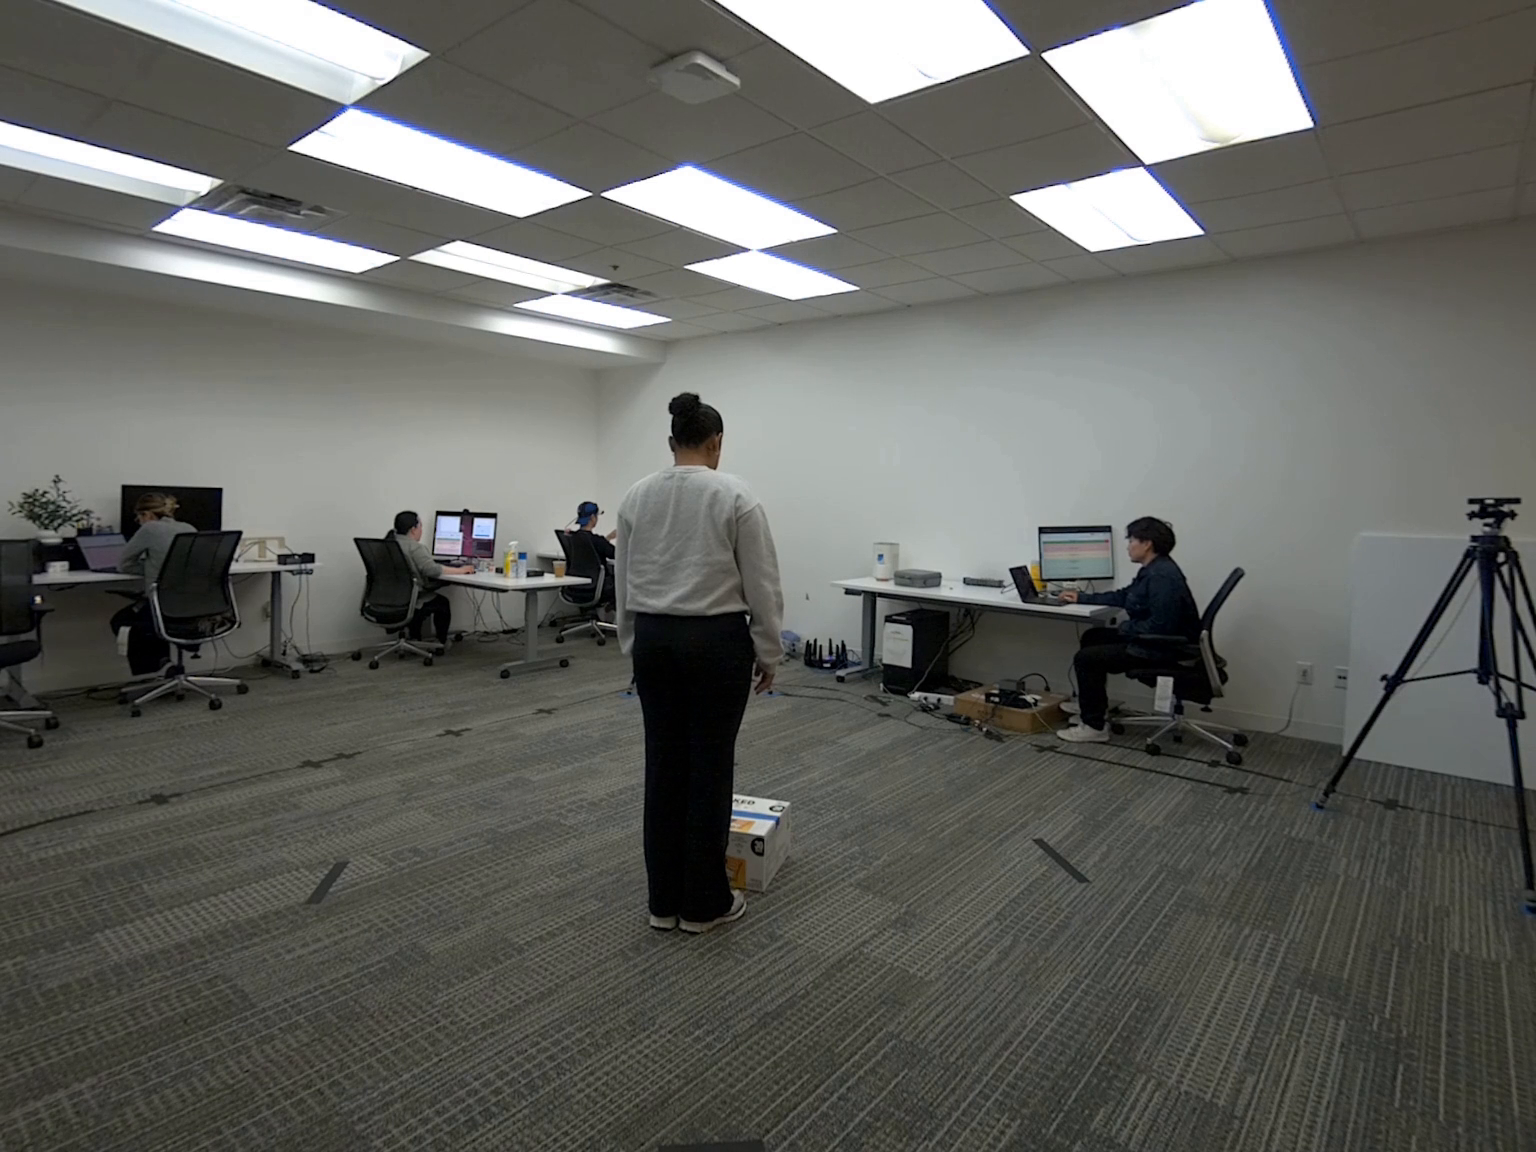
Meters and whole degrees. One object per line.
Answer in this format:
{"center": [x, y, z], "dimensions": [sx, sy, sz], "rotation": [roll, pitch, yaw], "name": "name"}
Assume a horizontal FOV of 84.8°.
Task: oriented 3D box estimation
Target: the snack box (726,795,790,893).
{"center": [-0.165, 0.963, 3.143], "dimensions": [0.413, 0.205, 0.335], "rotation": [2, 6, 19], "name": "snack box"}
